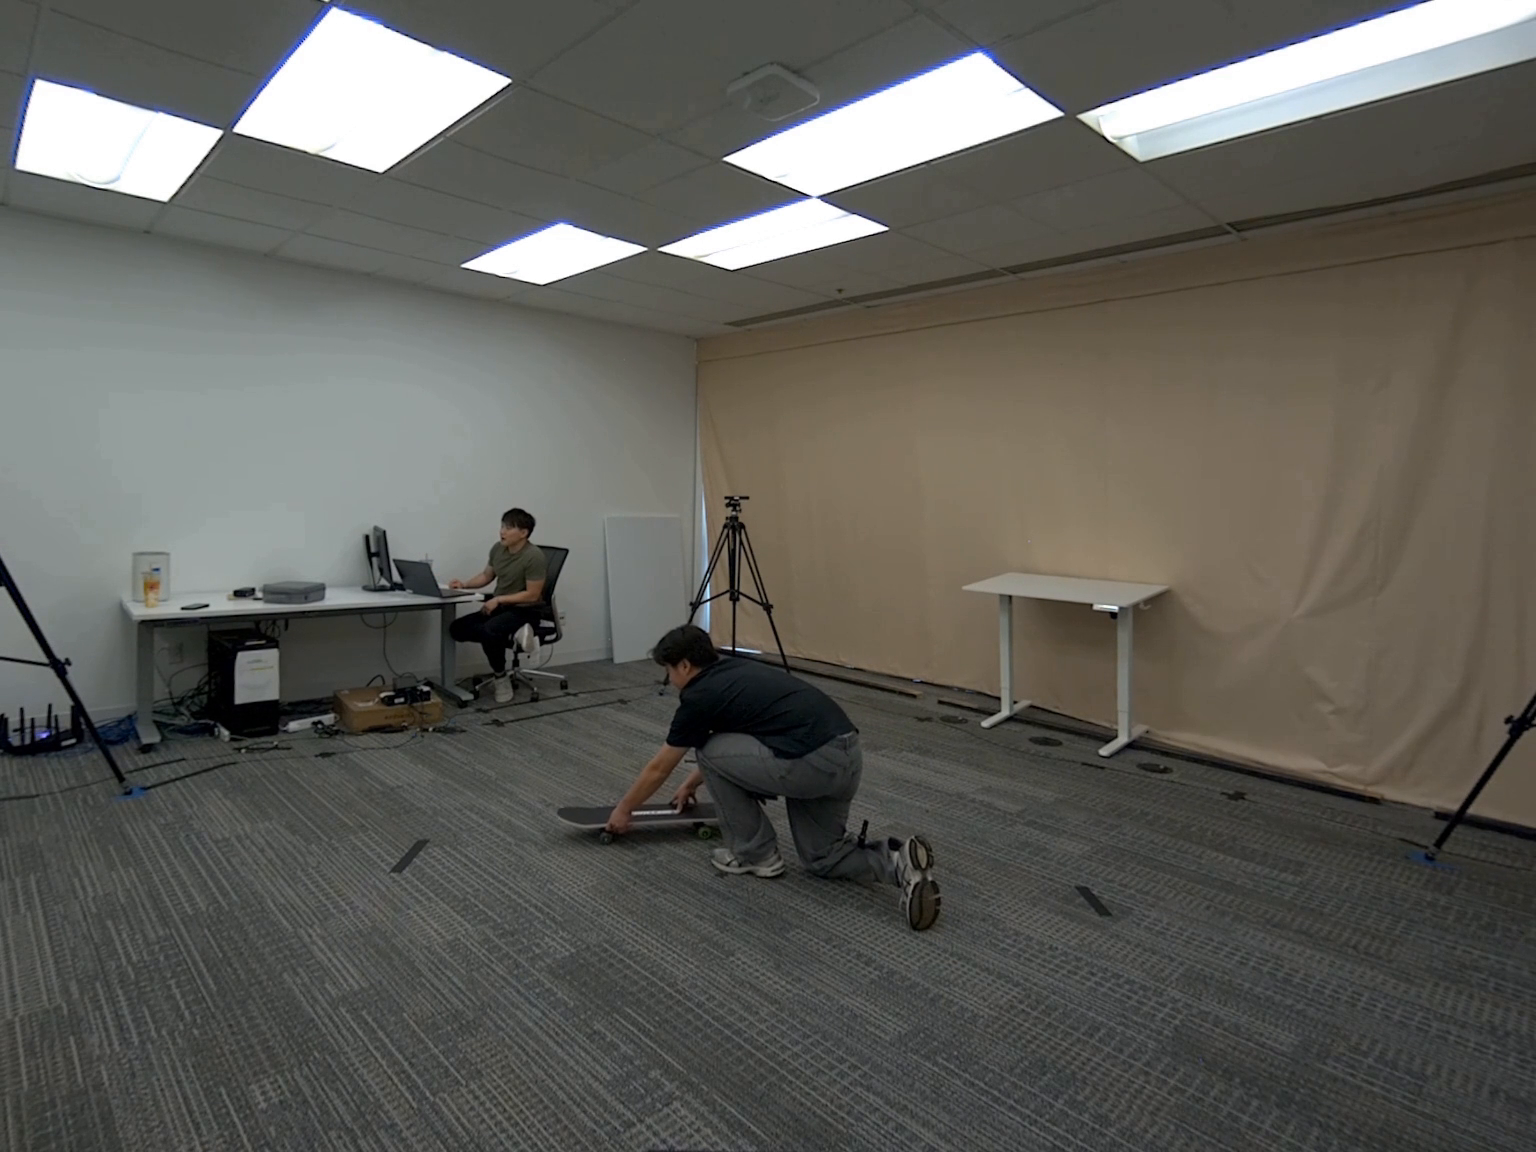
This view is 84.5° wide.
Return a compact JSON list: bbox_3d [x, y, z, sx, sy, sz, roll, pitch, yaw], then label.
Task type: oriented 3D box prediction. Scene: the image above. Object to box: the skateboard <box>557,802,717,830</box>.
[{"bbox_3d":[-0.480,1.008,3.468,0.778,0.110,0.196,0,5,-12],"label":"skateboard"}]
